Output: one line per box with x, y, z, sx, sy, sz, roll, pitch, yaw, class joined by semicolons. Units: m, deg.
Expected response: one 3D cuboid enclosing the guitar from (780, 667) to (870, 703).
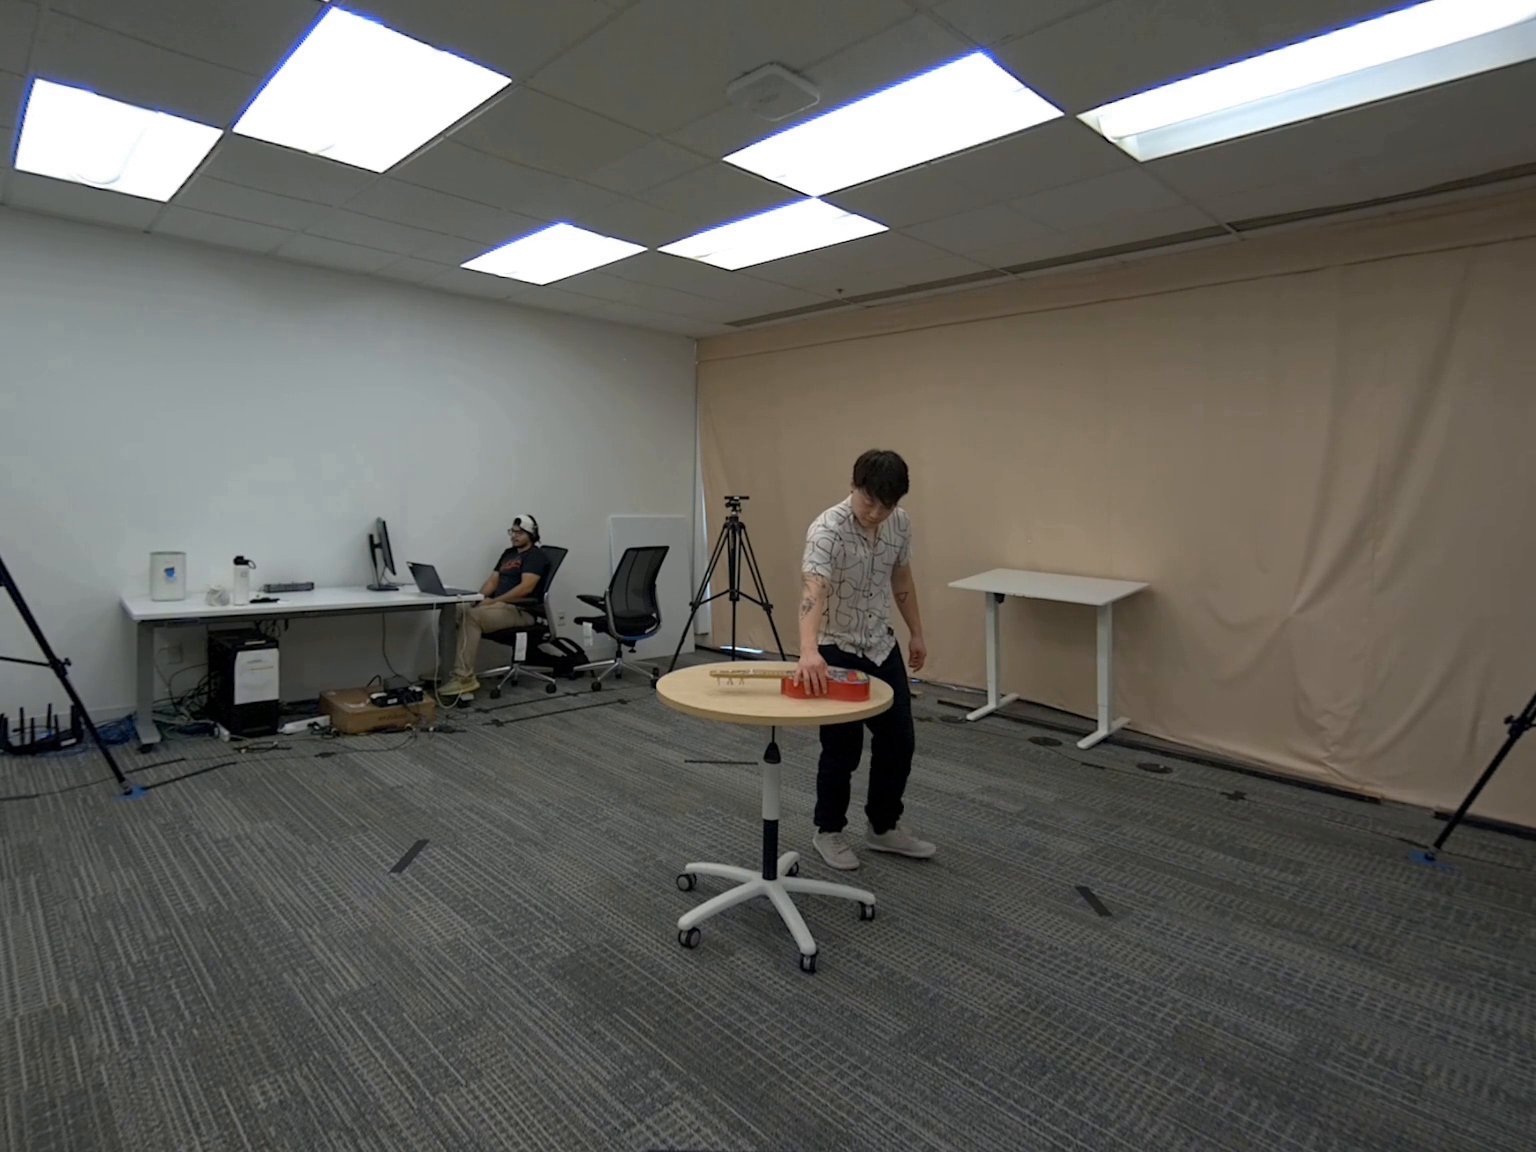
0.063;0.331;2.662;0.501;0.070;0.193;3;7;7;guitar
